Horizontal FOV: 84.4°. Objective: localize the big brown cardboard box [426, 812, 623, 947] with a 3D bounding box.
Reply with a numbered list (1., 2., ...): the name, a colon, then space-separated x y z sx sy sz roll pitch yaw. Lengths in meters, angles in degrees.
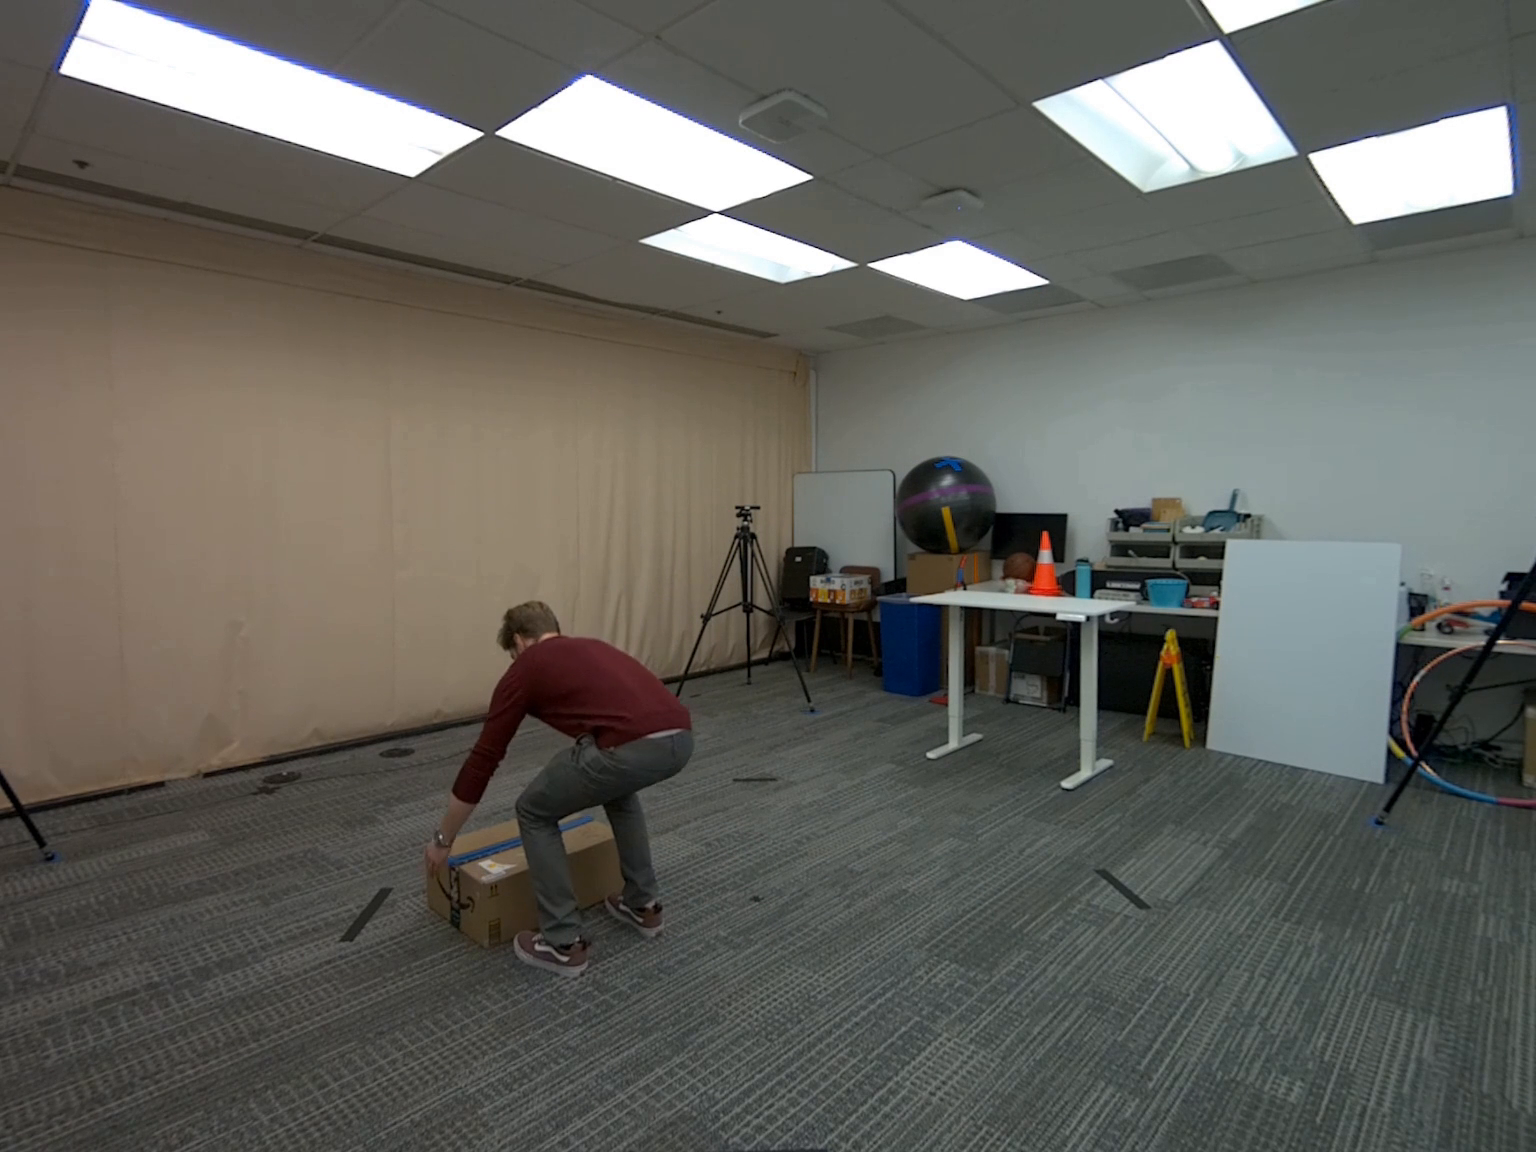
1. big brown cardboard box: -0.848 1.033 2.982 0.431 0.233 0.571 3 5 44
